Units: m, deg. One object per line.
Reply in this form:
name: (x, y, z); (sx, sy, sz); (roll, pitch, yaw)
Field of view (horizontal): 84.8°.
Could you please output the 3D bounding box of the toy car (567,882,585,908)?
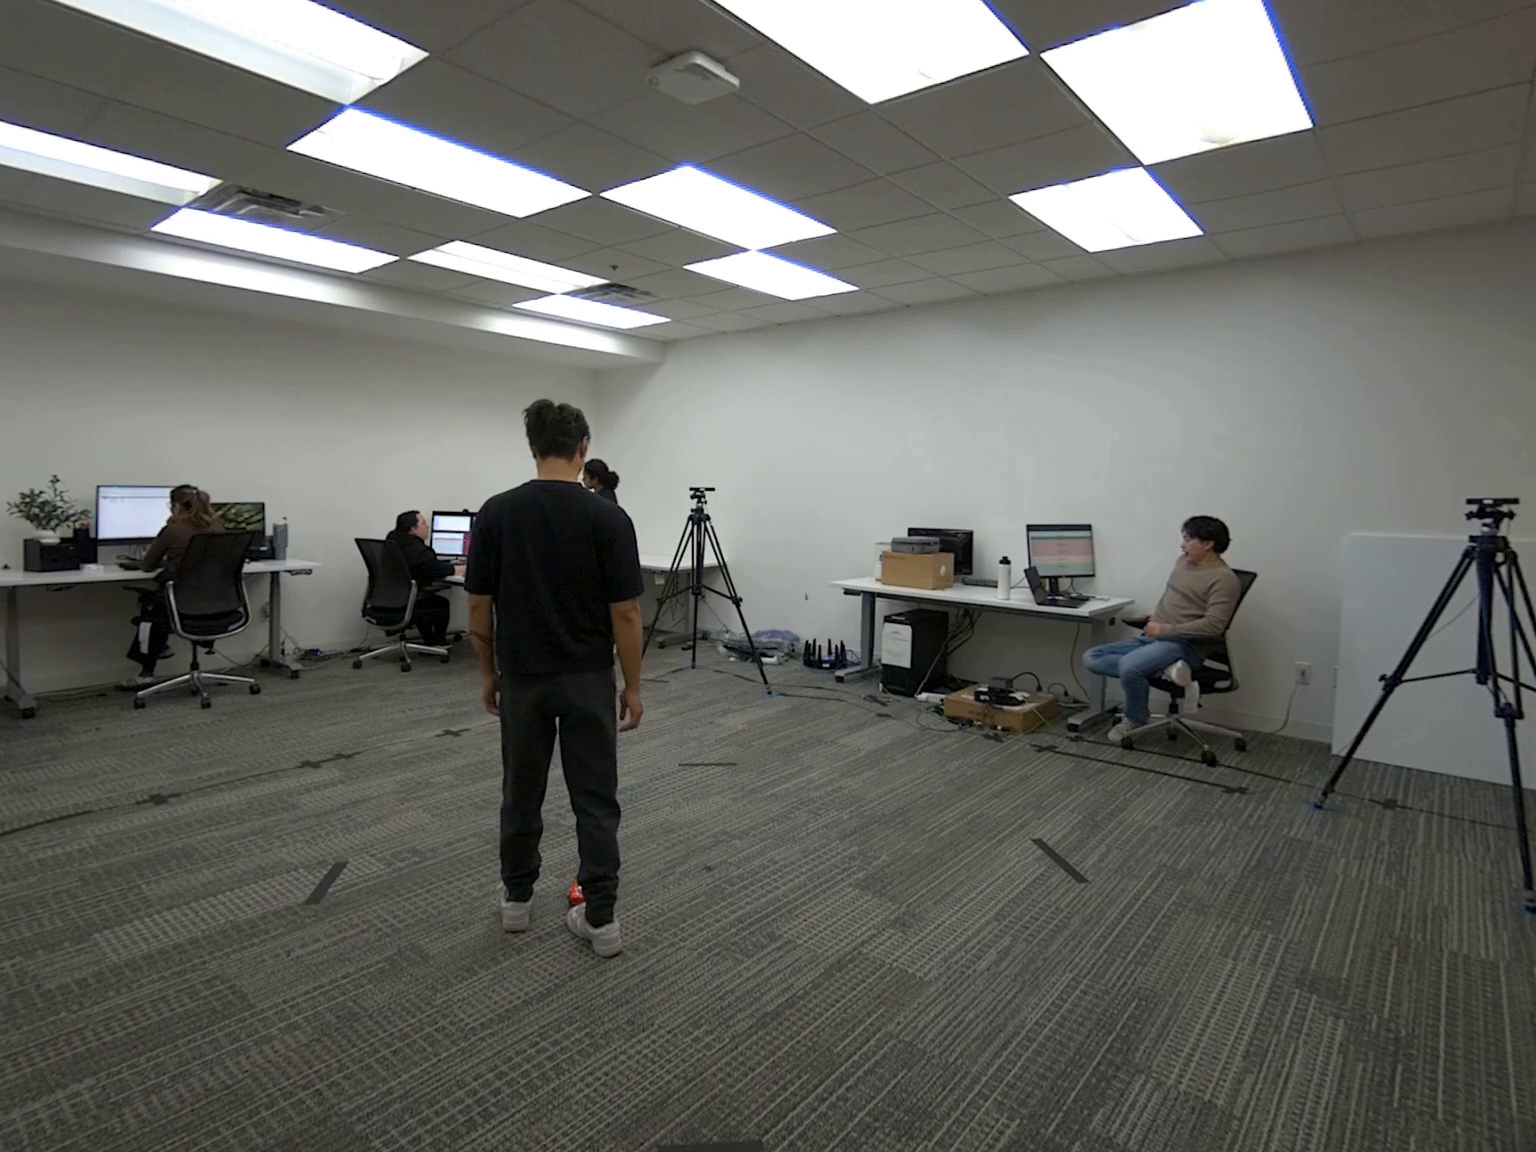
toy car: (-0.614, 1.048, 2.869); (0.130, 0.084, 0.253); (1, -7, -4)
